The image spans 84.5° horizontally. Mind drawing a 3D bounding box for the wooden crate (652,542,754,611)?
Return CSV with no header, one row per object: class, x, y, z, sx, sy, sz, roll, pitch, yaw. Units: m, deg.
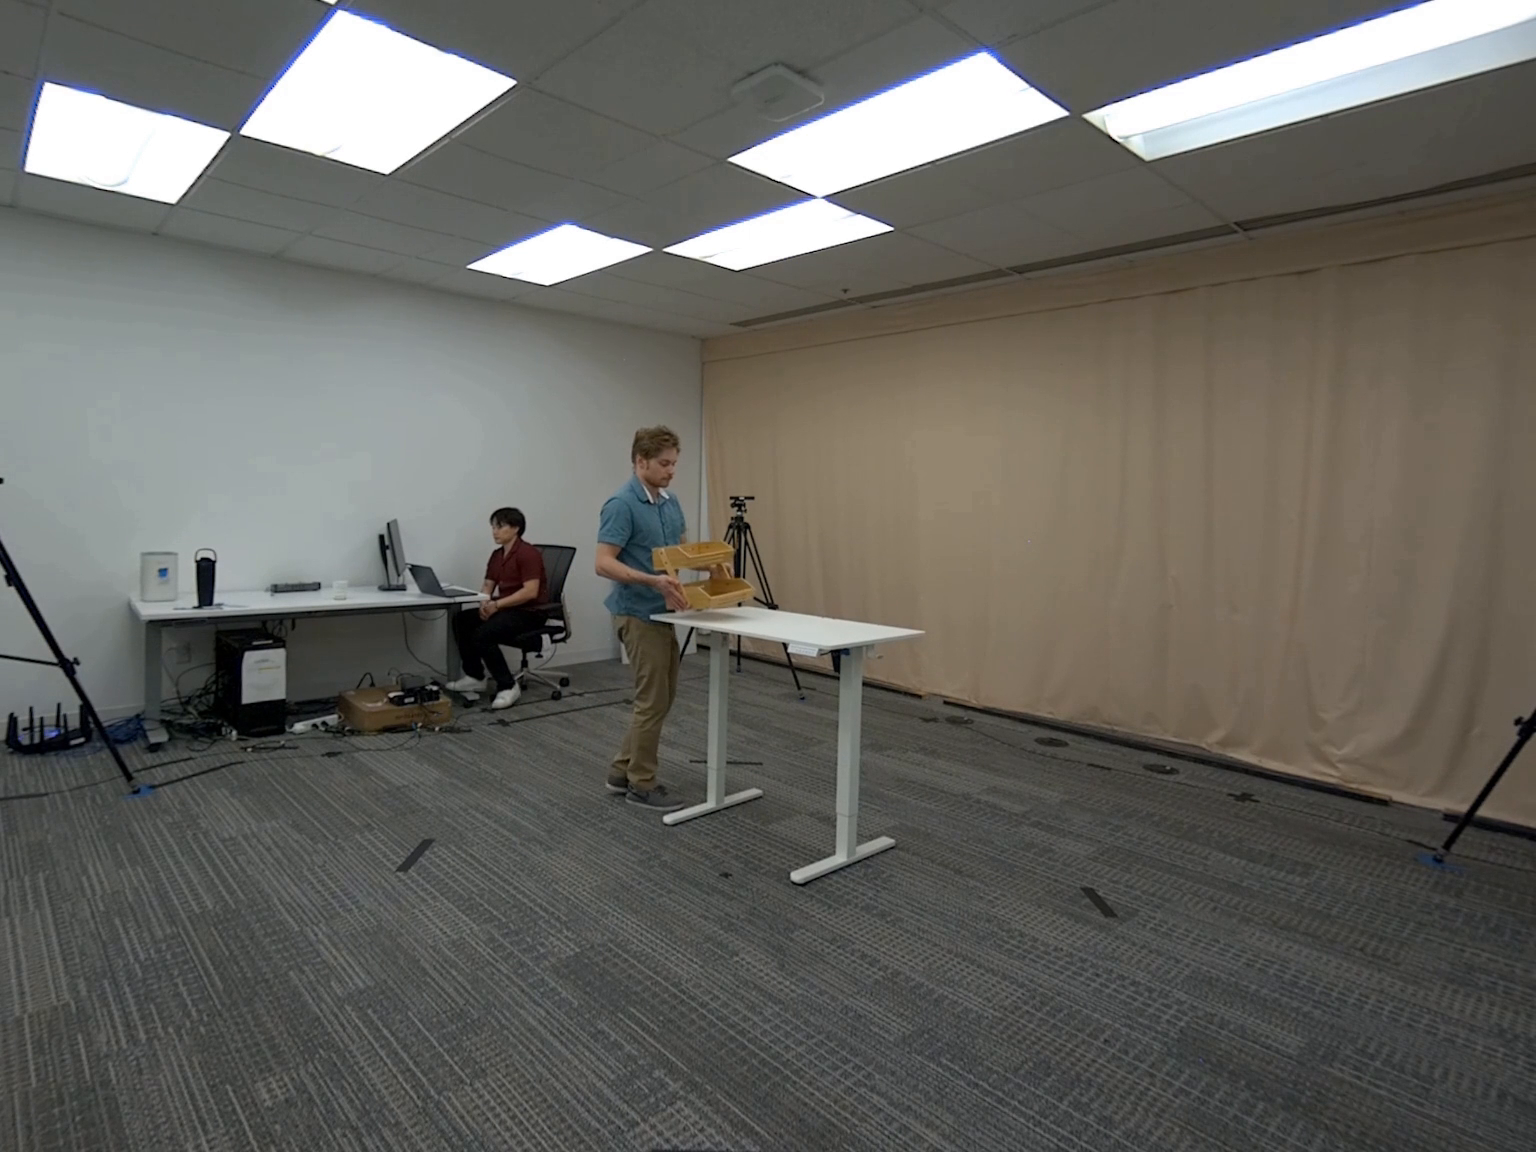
wooden crate,-0.283,-0.011,3.605,0.308,0.273,0.318,-3,4,37
